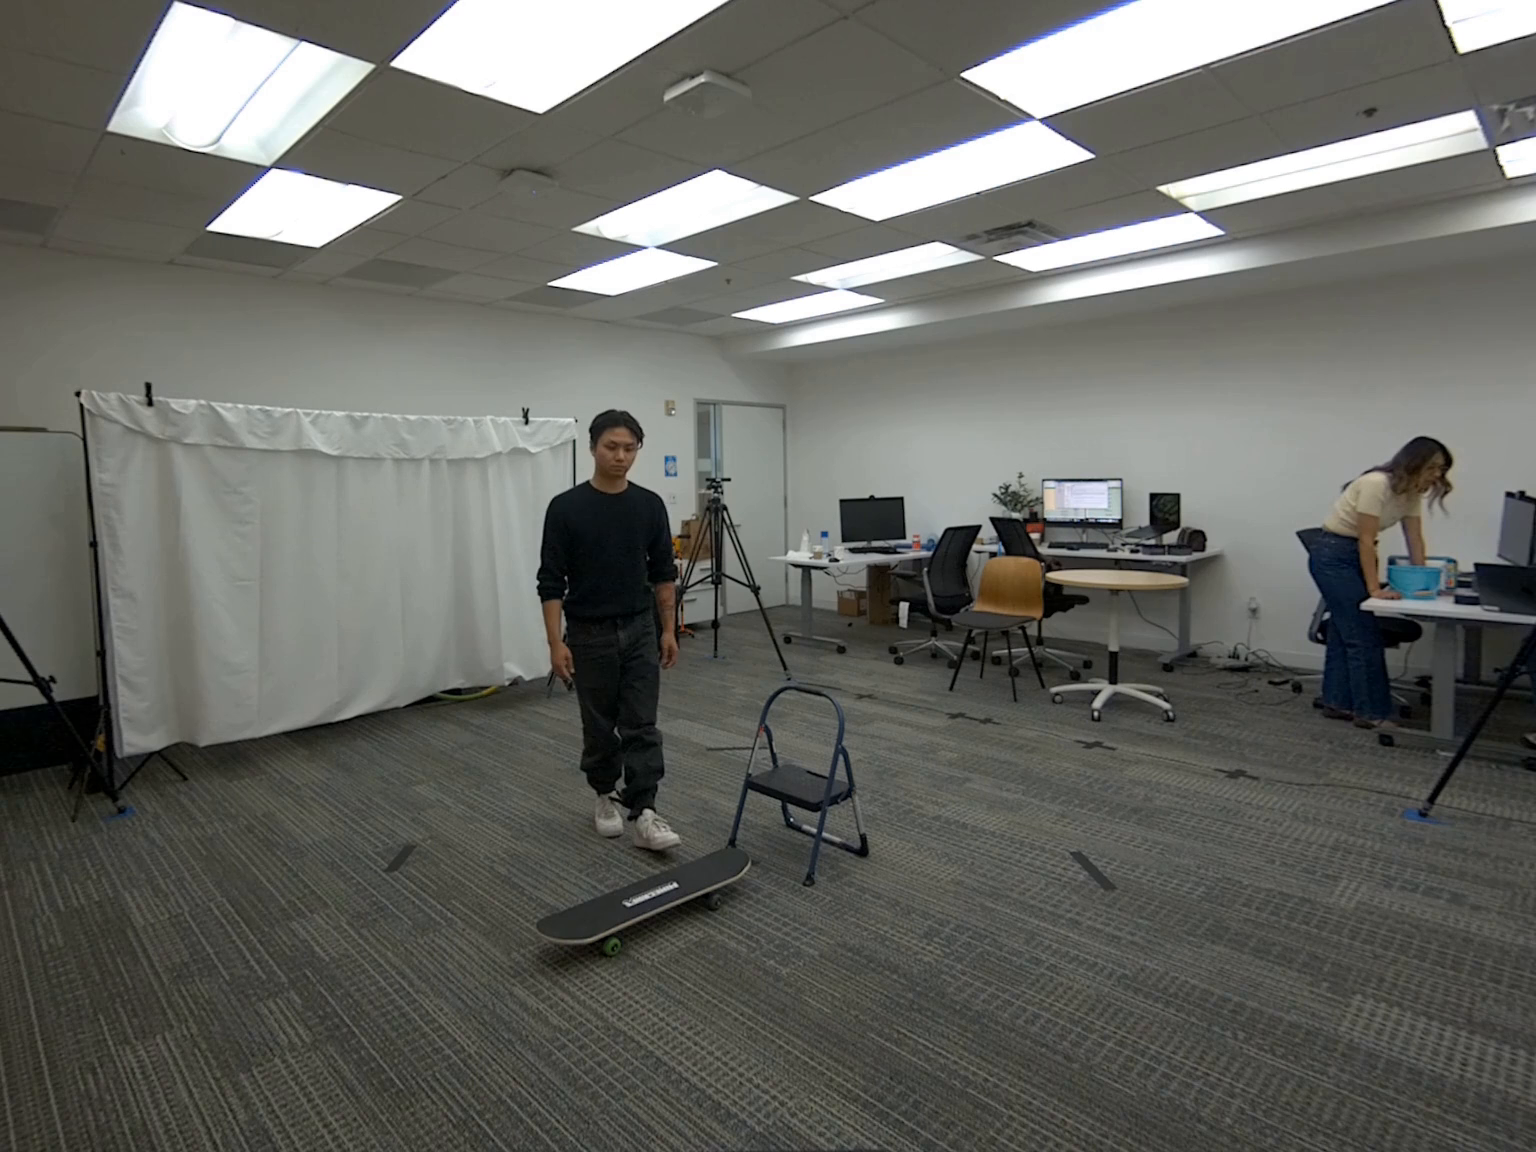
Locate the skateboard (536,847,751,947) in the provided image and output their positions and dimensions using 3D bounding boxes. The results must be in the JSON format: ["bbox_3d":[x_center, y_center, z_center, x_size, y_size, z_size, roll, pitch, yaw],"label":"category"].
[{"bbox_3d":[-0.369,1.042,2.706,0.765,0.110,0.199,-7,9,-41],"label":"skateboard"}]
